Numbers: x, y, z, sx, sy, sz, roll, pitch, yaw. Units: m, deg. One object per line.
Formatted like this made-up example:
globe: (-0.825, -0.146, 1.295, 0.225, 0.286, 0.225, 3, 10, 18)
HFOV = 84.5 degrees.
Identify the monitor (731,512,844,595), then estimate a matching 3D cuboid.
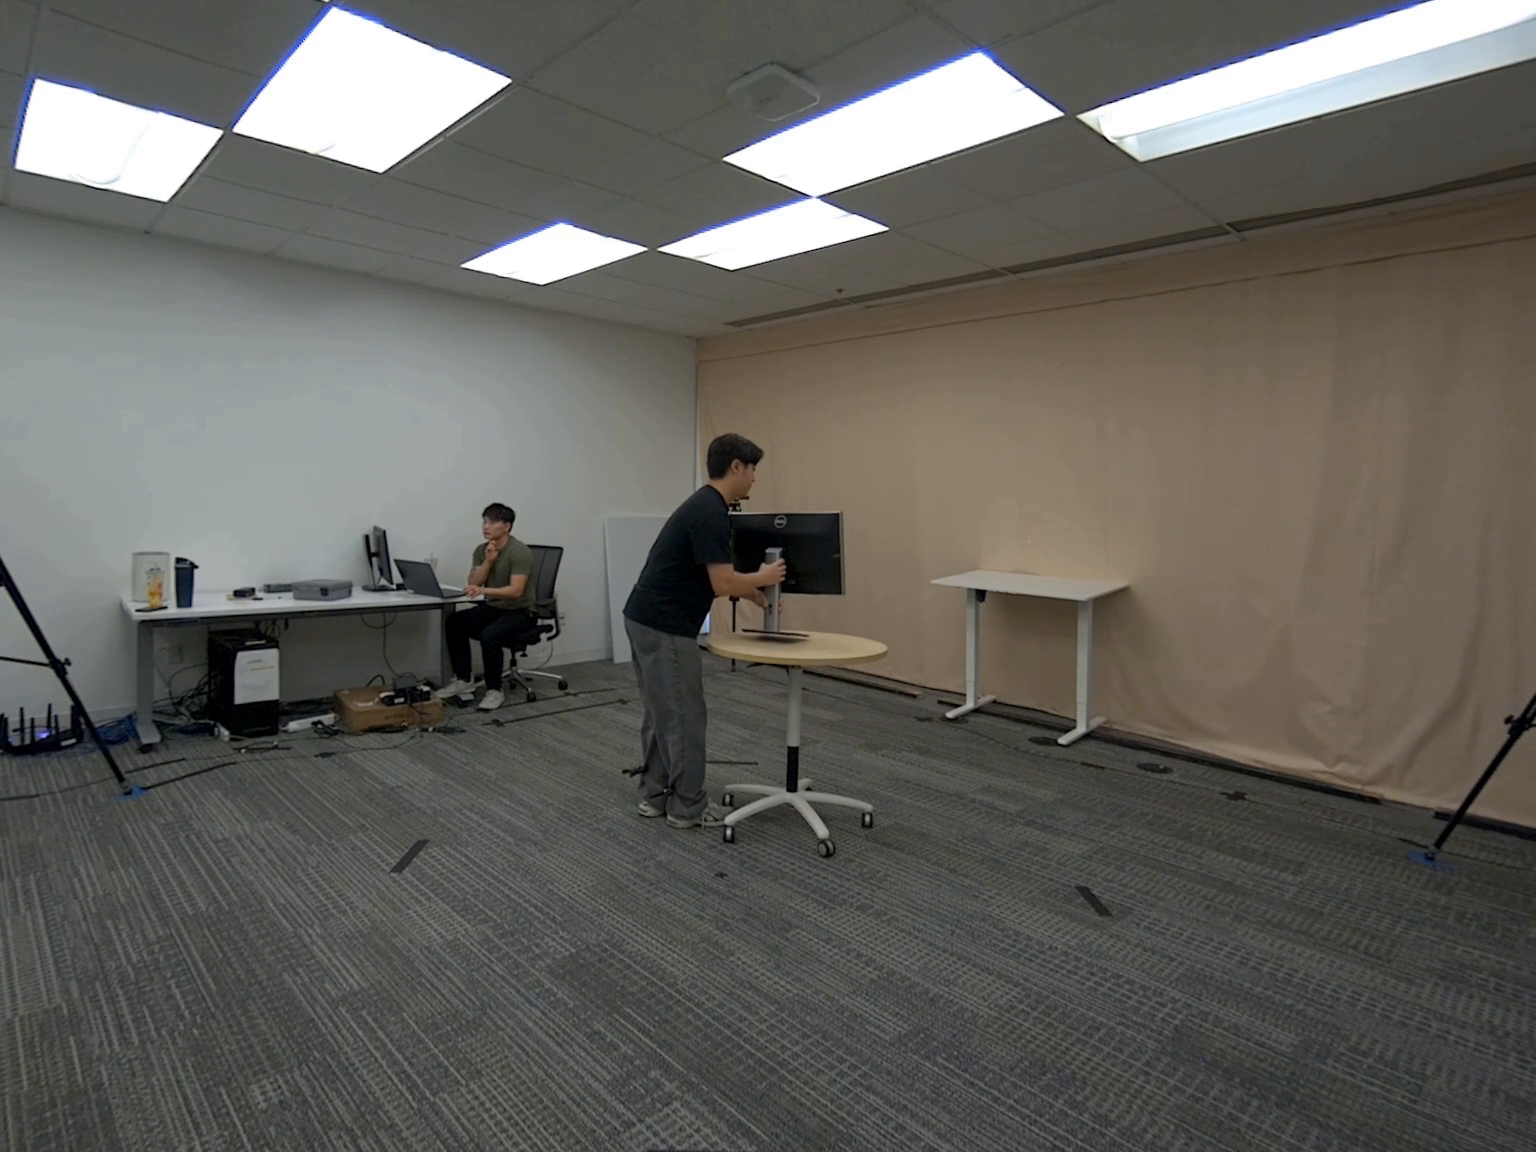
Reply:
monitor: (0.045, -0.003, 3.716, 0.574, 0.568, 0.216, 2, -6, 32)
